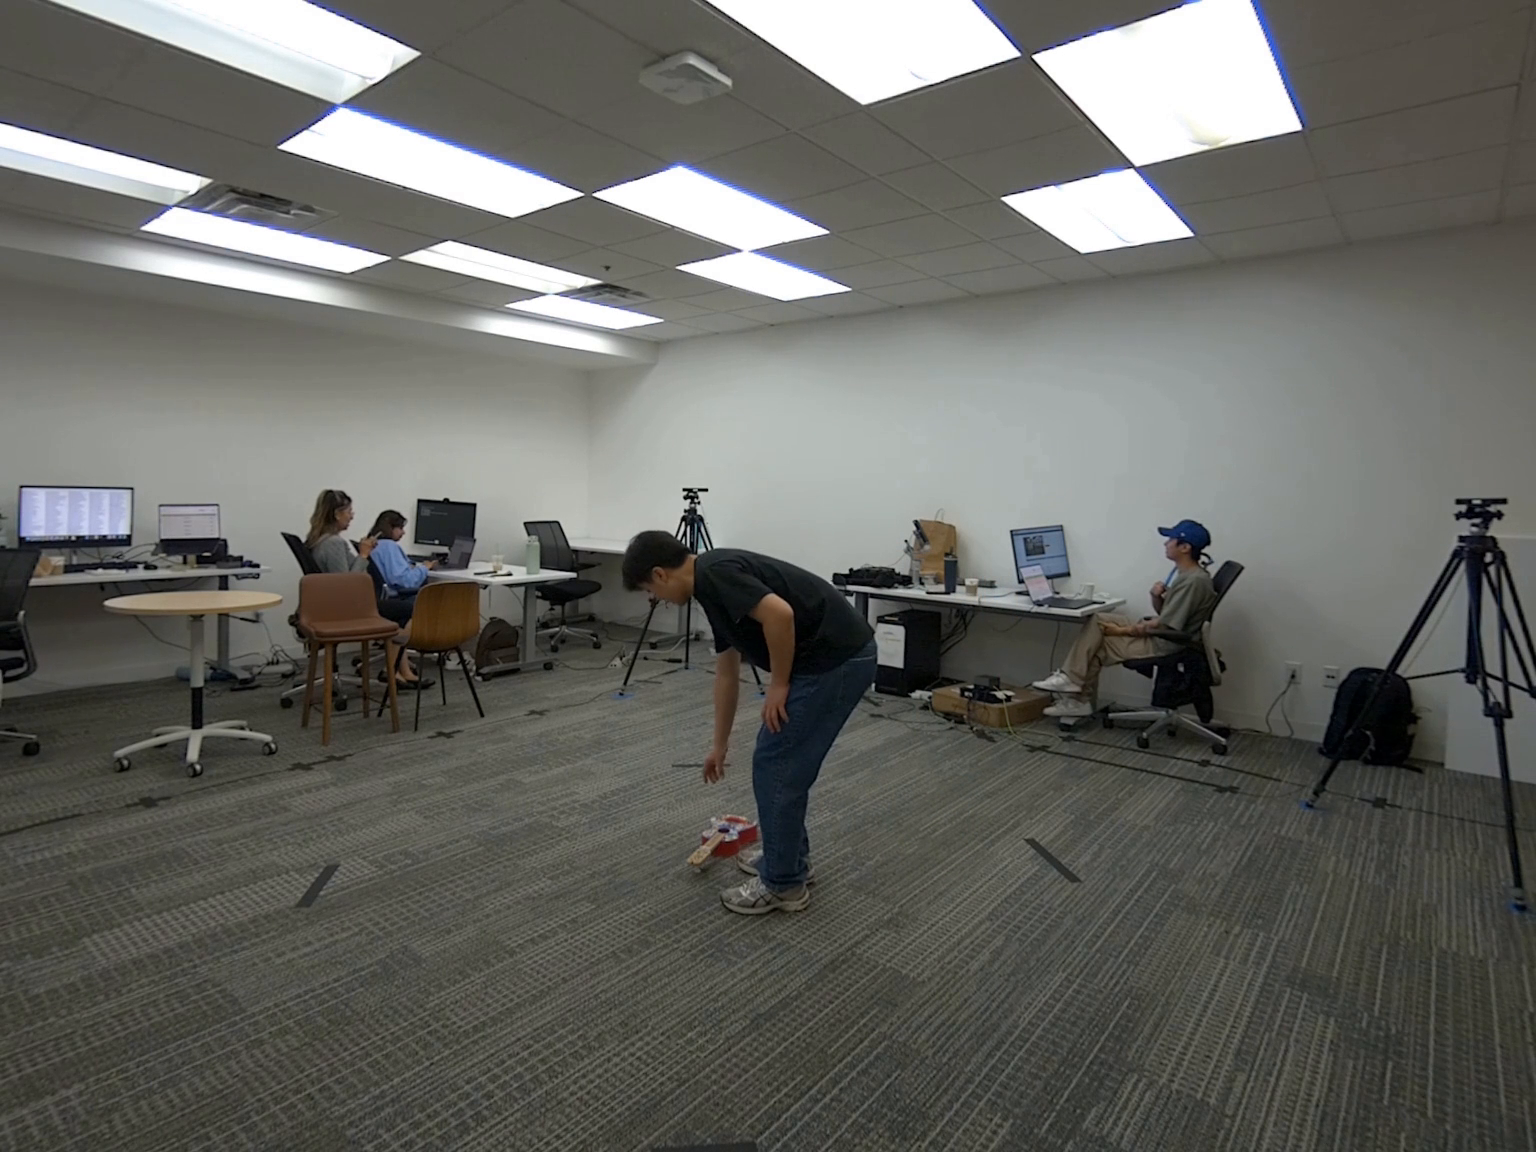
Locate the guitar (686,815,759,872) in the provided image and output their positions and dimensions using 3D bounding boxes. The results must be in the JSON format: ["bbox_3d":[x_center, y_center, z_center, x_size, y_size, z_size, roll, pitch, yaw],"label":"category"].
[{"bbox_3d":[-0.229,1.020,3.261,0.198,0.070,0.485,3,5,27],"label":"guitar"}]
